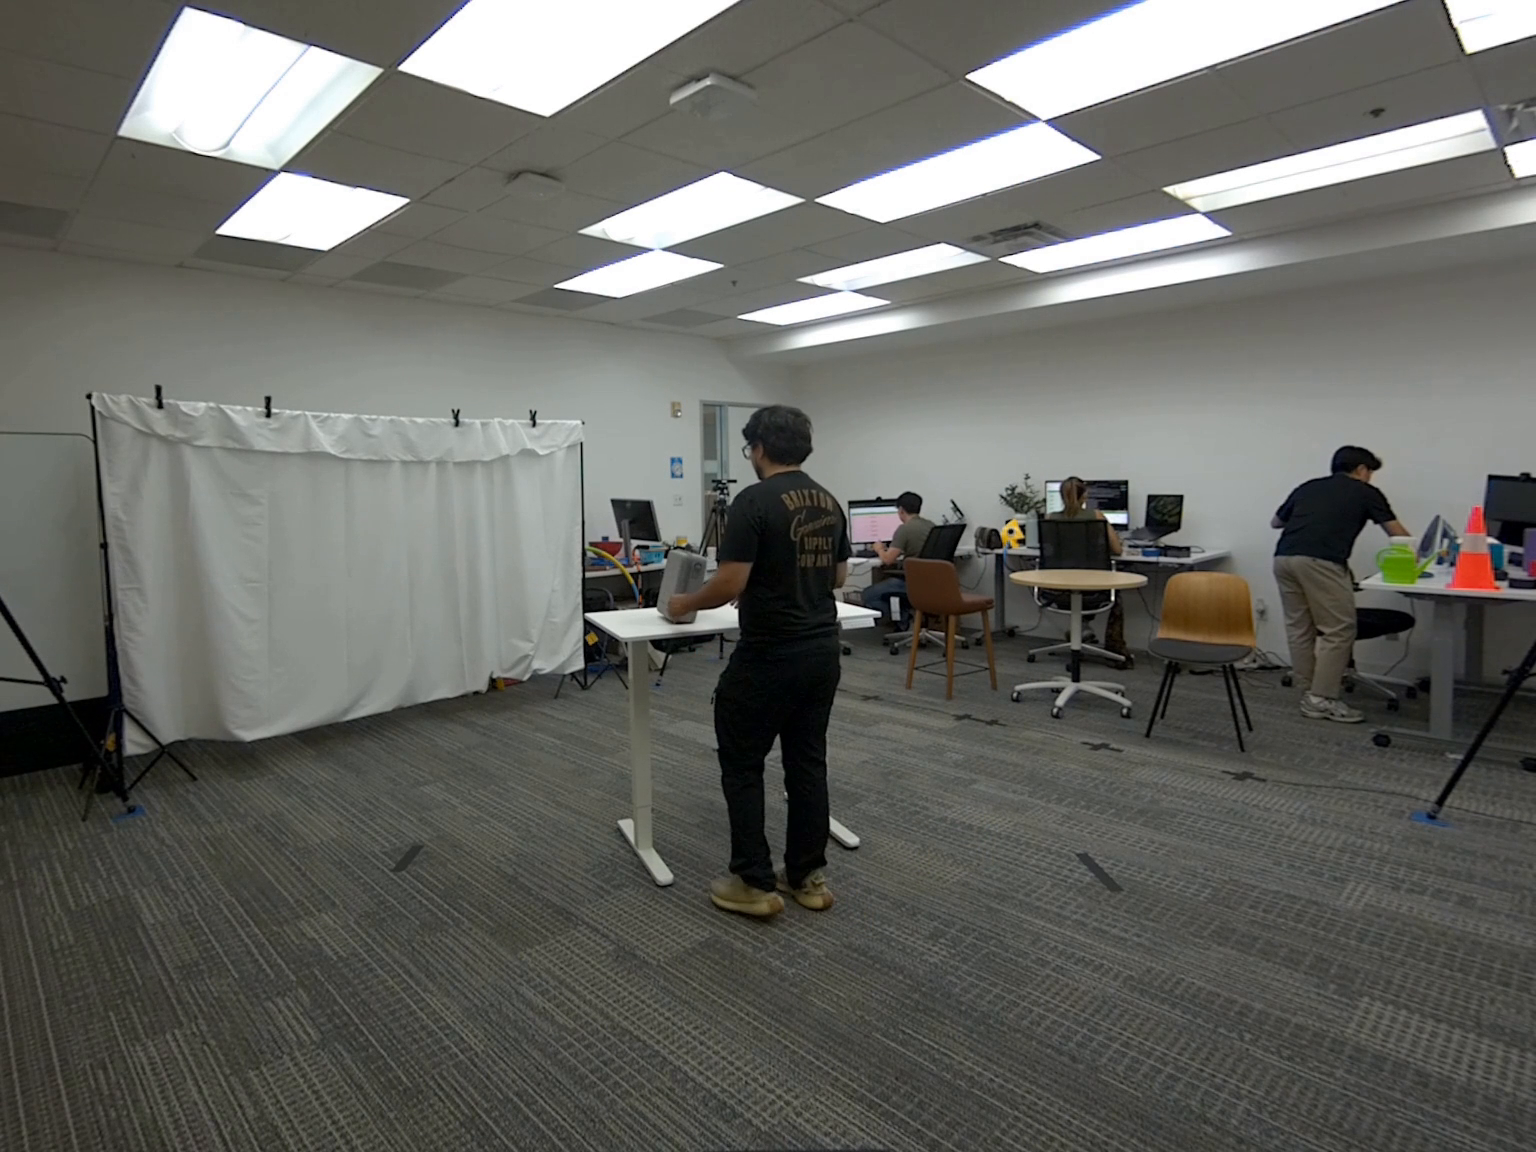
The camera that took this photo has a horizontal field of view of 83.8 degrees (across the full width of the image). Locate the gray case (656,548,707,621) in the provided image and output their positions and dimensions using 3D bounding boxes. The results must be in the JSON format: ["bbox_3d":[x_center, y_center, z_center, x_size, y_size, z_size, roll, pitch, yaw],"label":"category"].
[{"bbox_3d":[-0.319,0.037,3.179,0.102,0.260,0.262,7,1,-19],"label":"gray case"}]
